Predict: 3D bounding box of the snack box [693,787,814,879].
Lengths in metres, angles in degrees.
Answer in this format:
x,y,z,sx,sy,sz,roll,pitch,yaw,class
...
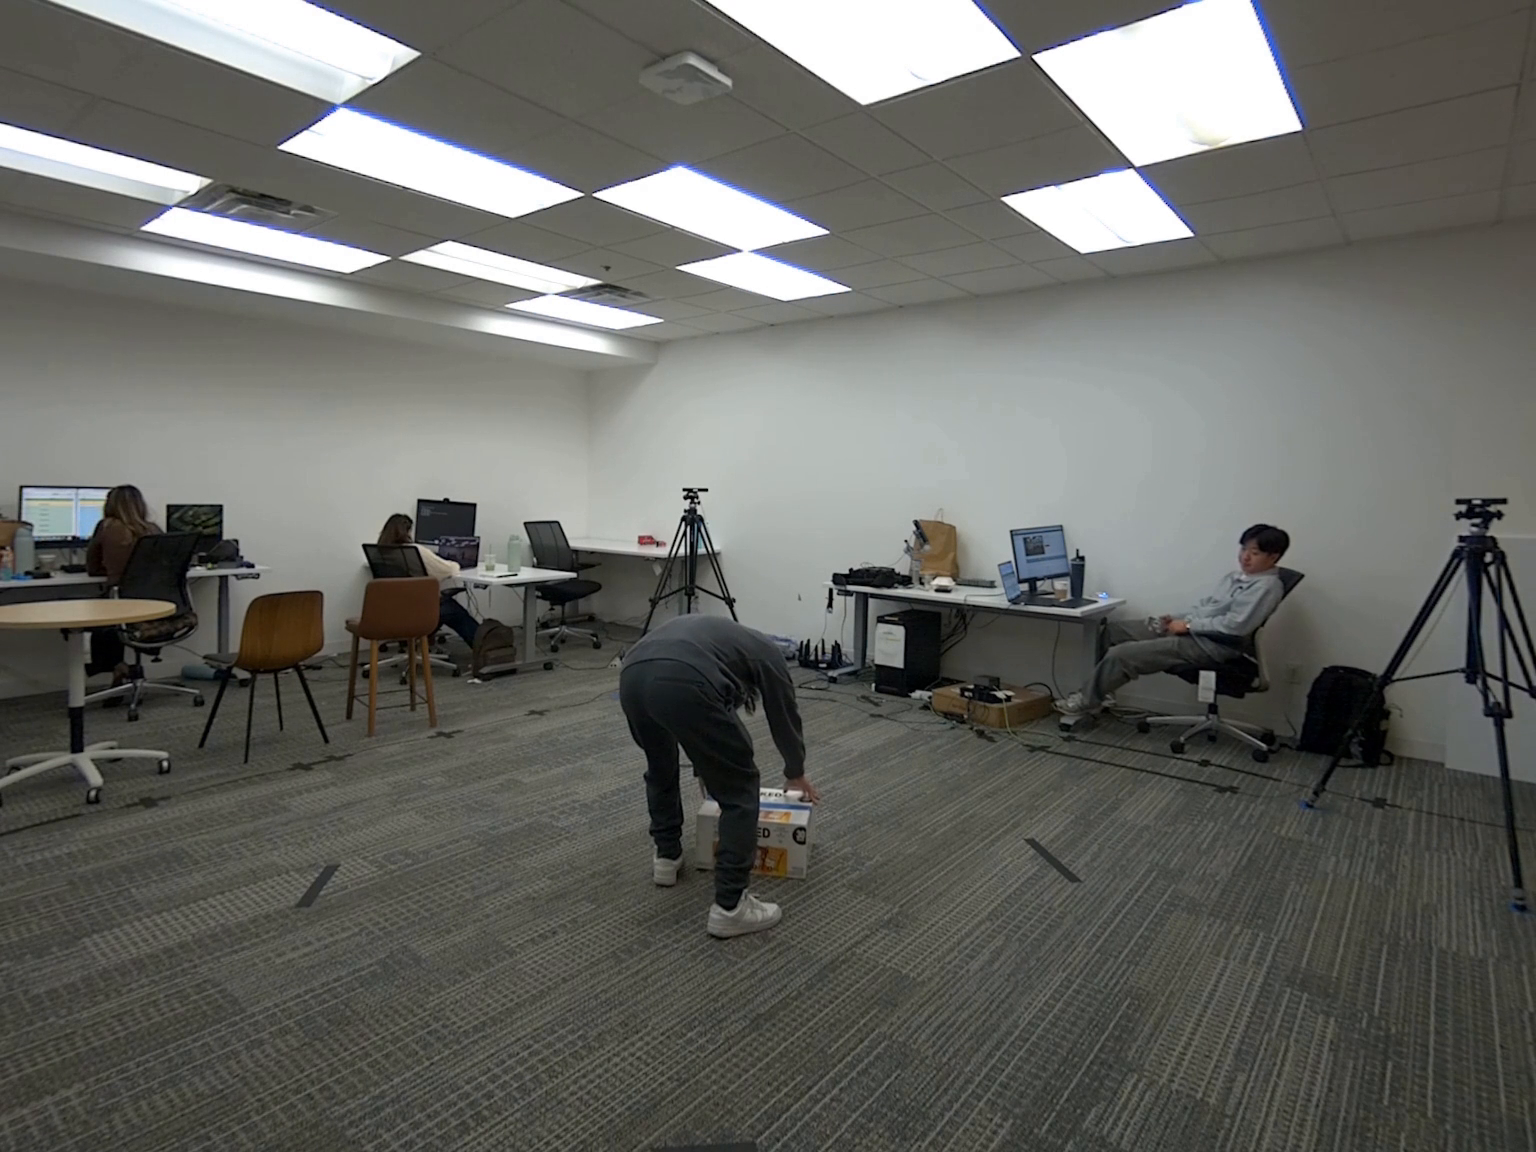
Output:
x,y,z,sx,sy,sz,roll,pitch,yaw,class
-0.048,0.960,3.235,0.410,0.205,0.338,3,5,9,snack box
